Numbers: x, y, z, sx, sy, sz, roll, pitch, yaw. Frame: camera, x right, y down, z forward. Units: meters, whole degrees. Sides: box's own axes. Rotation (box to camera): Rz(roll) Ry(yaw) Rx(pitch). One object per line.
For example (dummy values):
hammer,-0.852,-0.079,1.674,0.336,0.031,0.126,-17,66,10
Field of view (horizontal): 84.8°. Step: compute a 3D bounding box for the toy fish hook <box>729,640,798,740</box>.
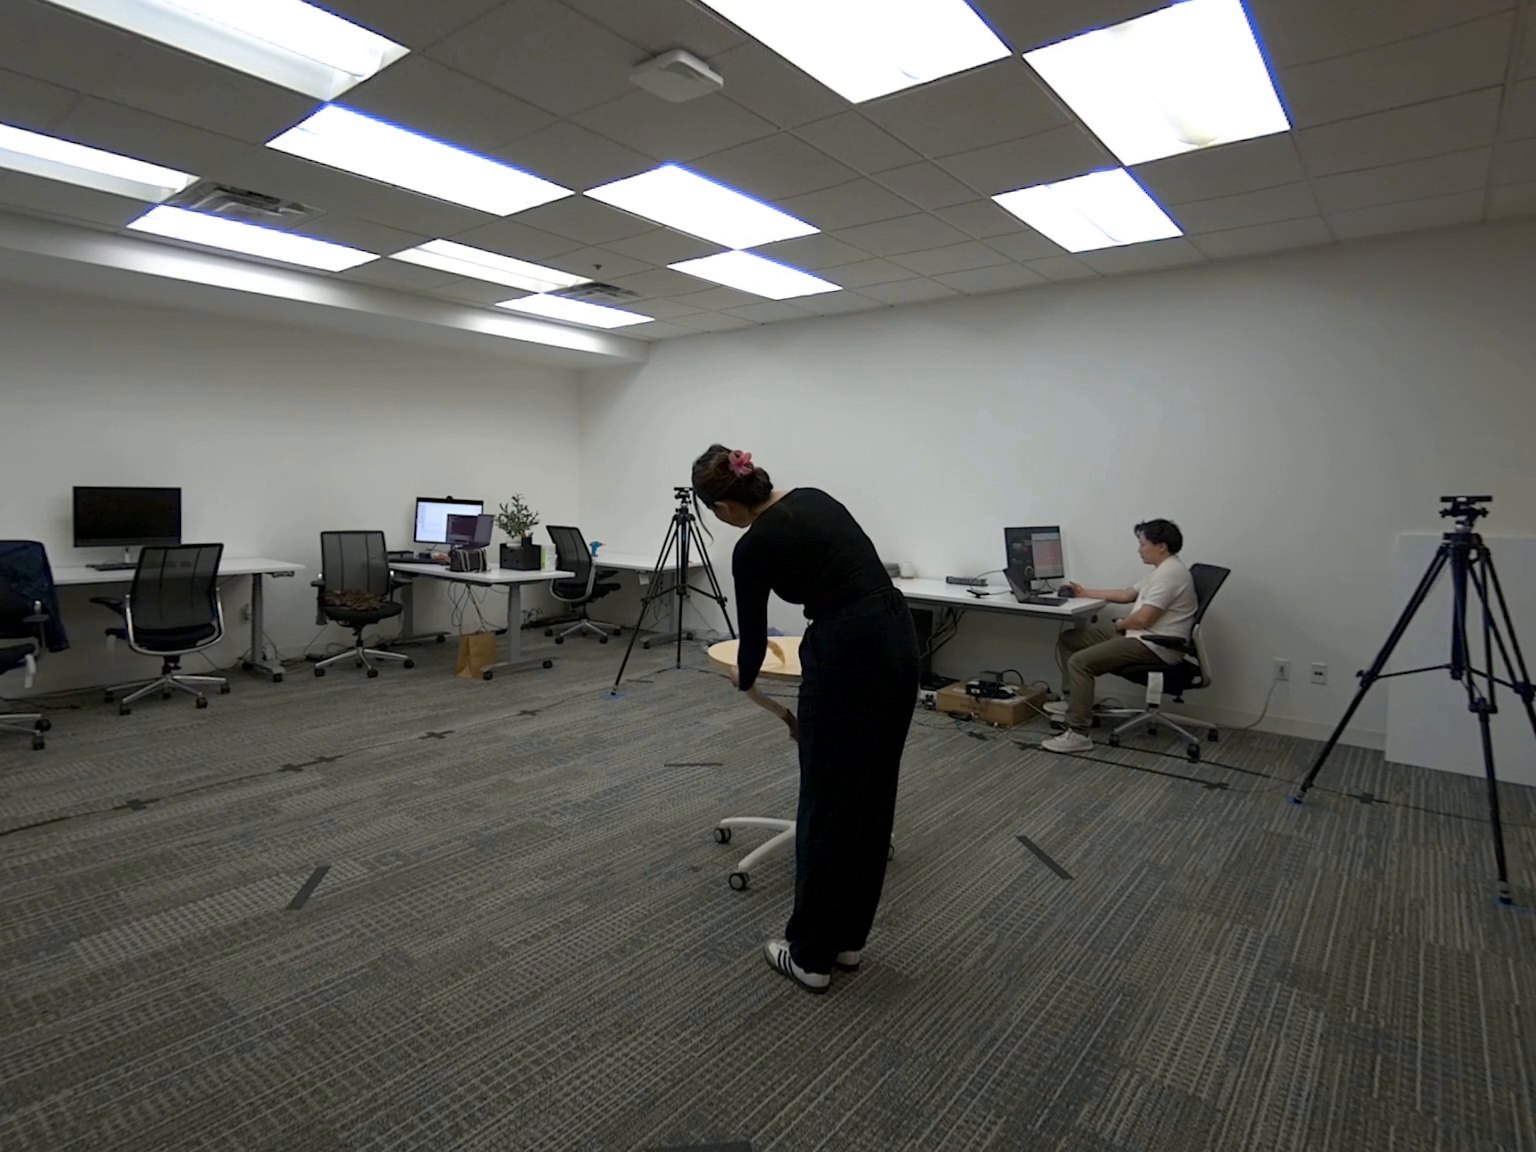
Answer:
toy fish hook,0.041,0.401,2.926,0.050,0.489,0.225,1,46,46
